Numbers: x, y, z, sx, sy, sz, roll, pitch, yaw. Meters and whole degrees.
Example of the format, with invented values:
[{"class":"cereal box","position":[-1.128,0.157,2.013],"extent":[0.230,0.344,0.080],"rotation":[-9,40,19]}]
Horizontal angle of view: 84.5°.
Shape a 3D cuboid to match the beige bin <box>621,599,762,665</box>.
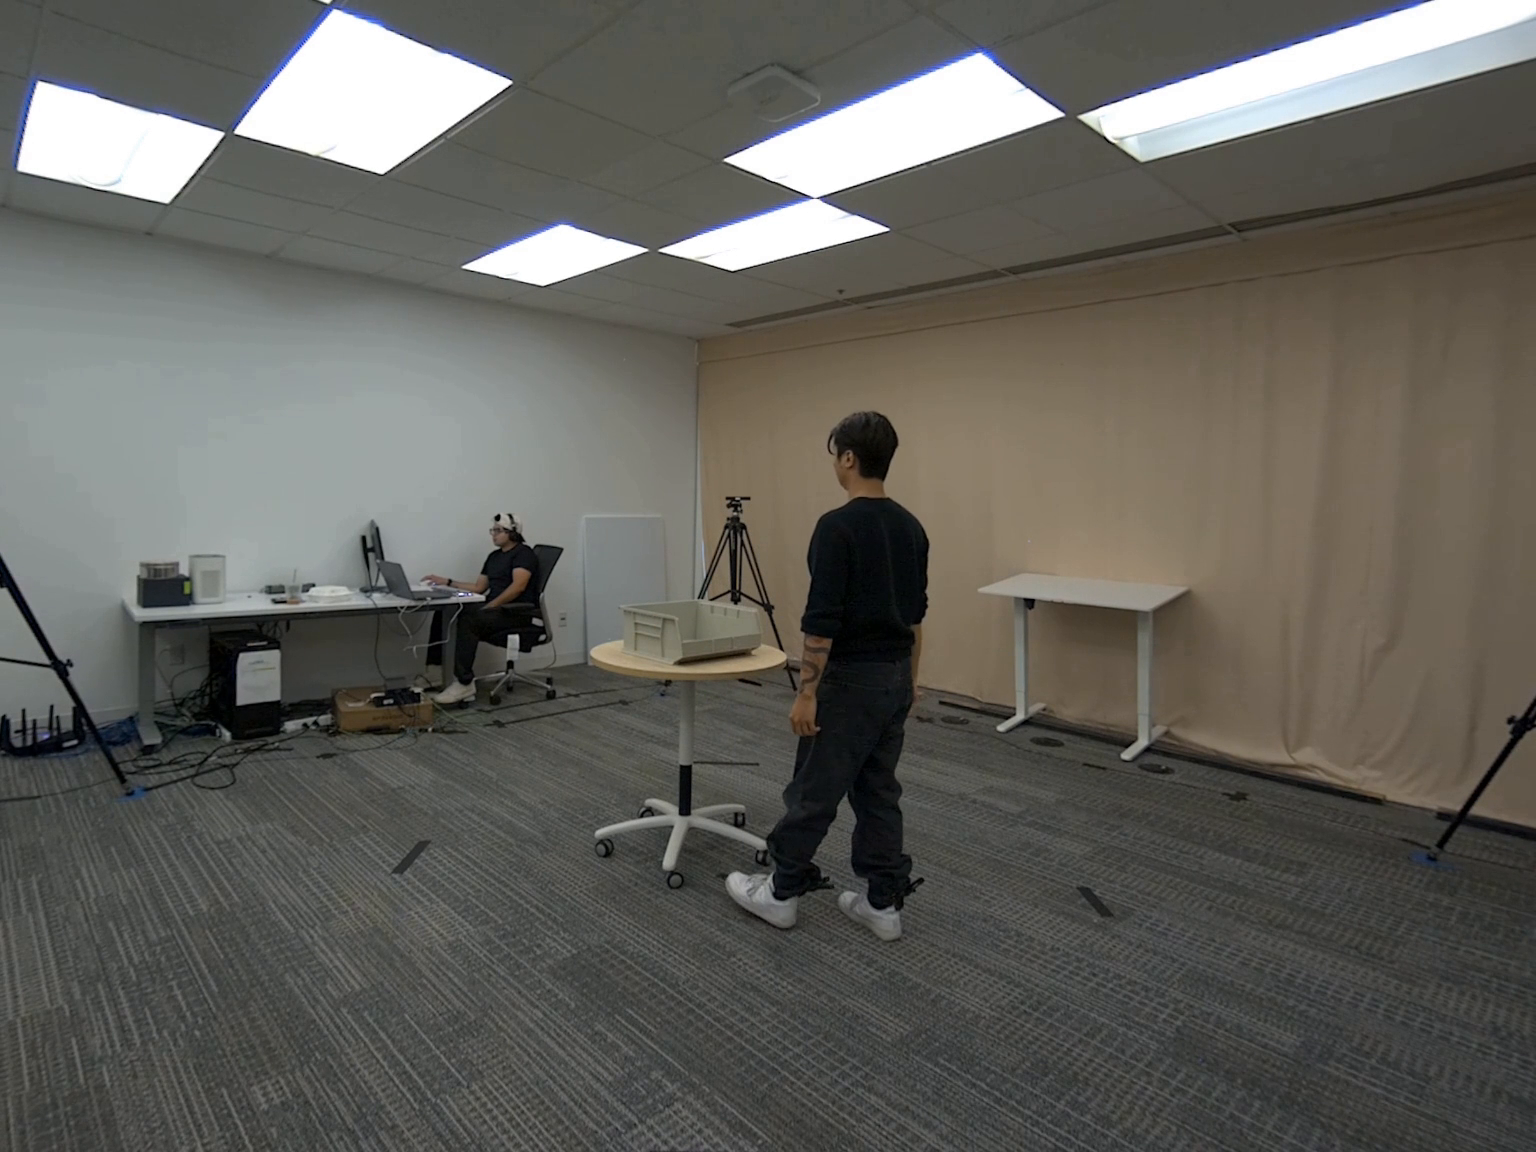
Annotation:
[{"class":"beige bin","position":[-0.304,0.215,3.266],"extent":[0.413,0.188,0.387],"rotation":[-4,6,-45]}]
